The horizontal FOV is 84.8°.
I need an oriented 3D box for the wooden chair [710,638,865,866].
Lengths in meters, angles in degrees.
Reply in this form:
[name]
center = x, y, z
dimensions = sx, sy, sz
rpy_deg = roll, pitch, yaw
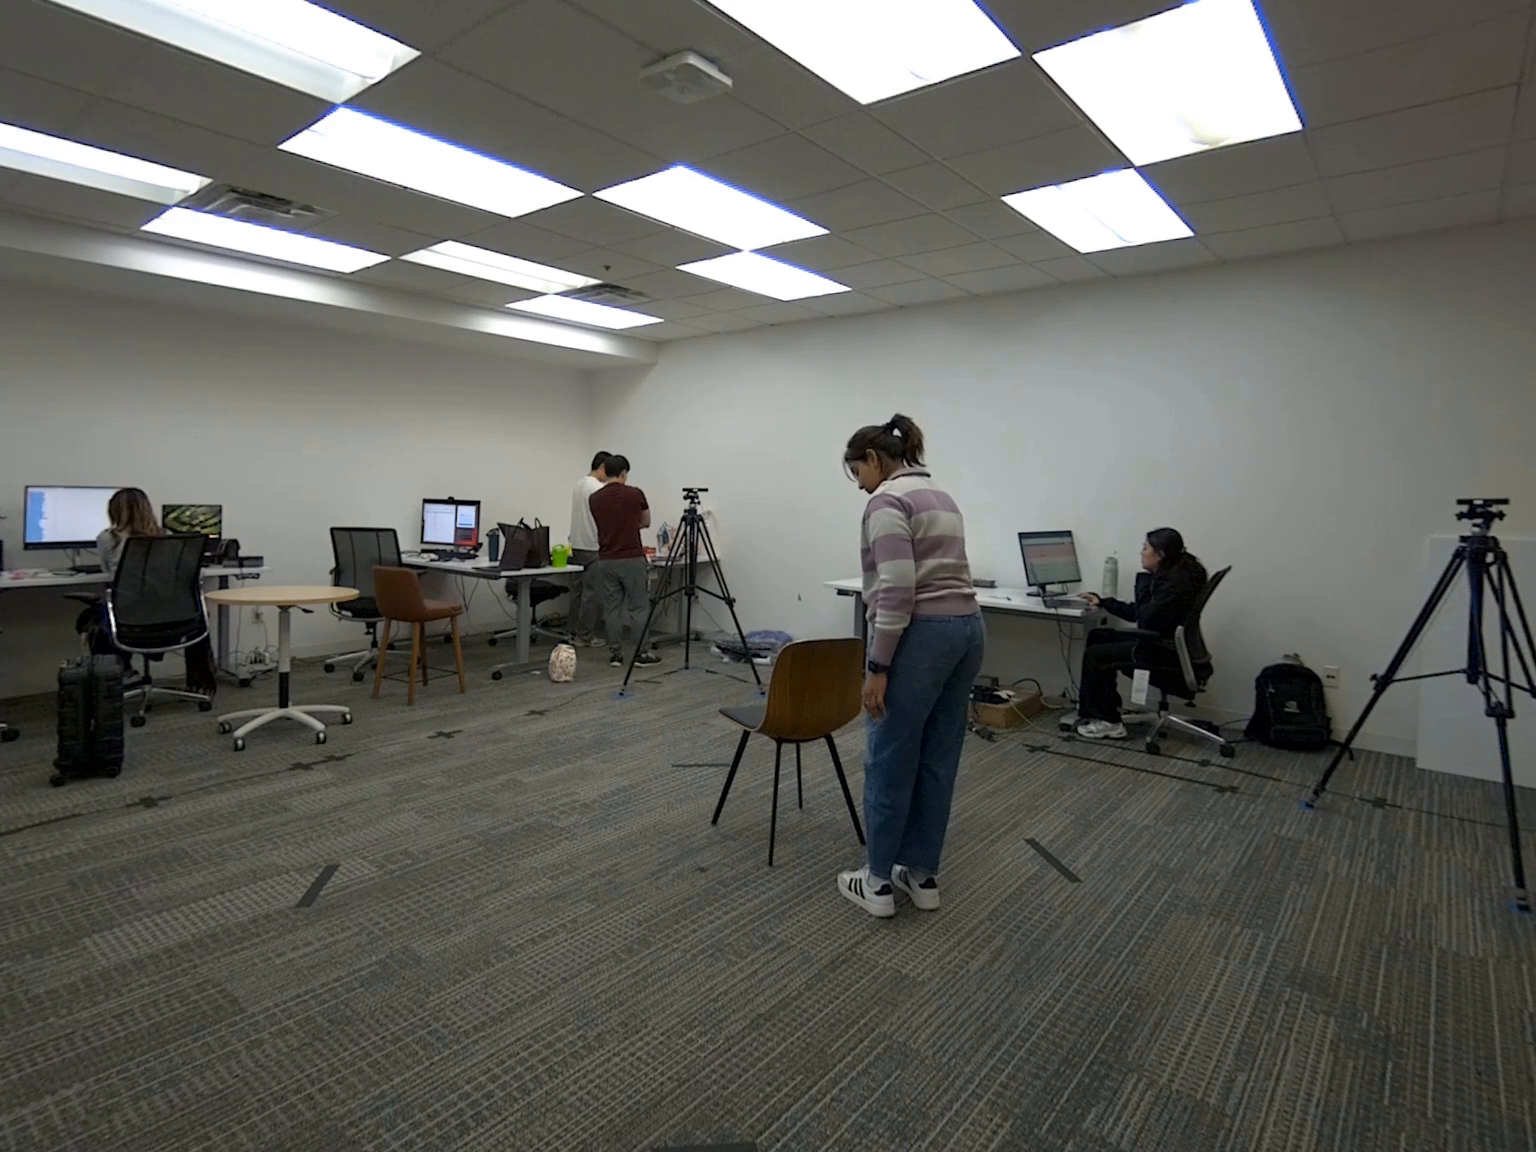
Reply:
[wooden chair]
center = 0.071, 0.618, 3.425
dimensions = 0.465, 0.872, 0.541
rpy_deg = 0, 7, -31
